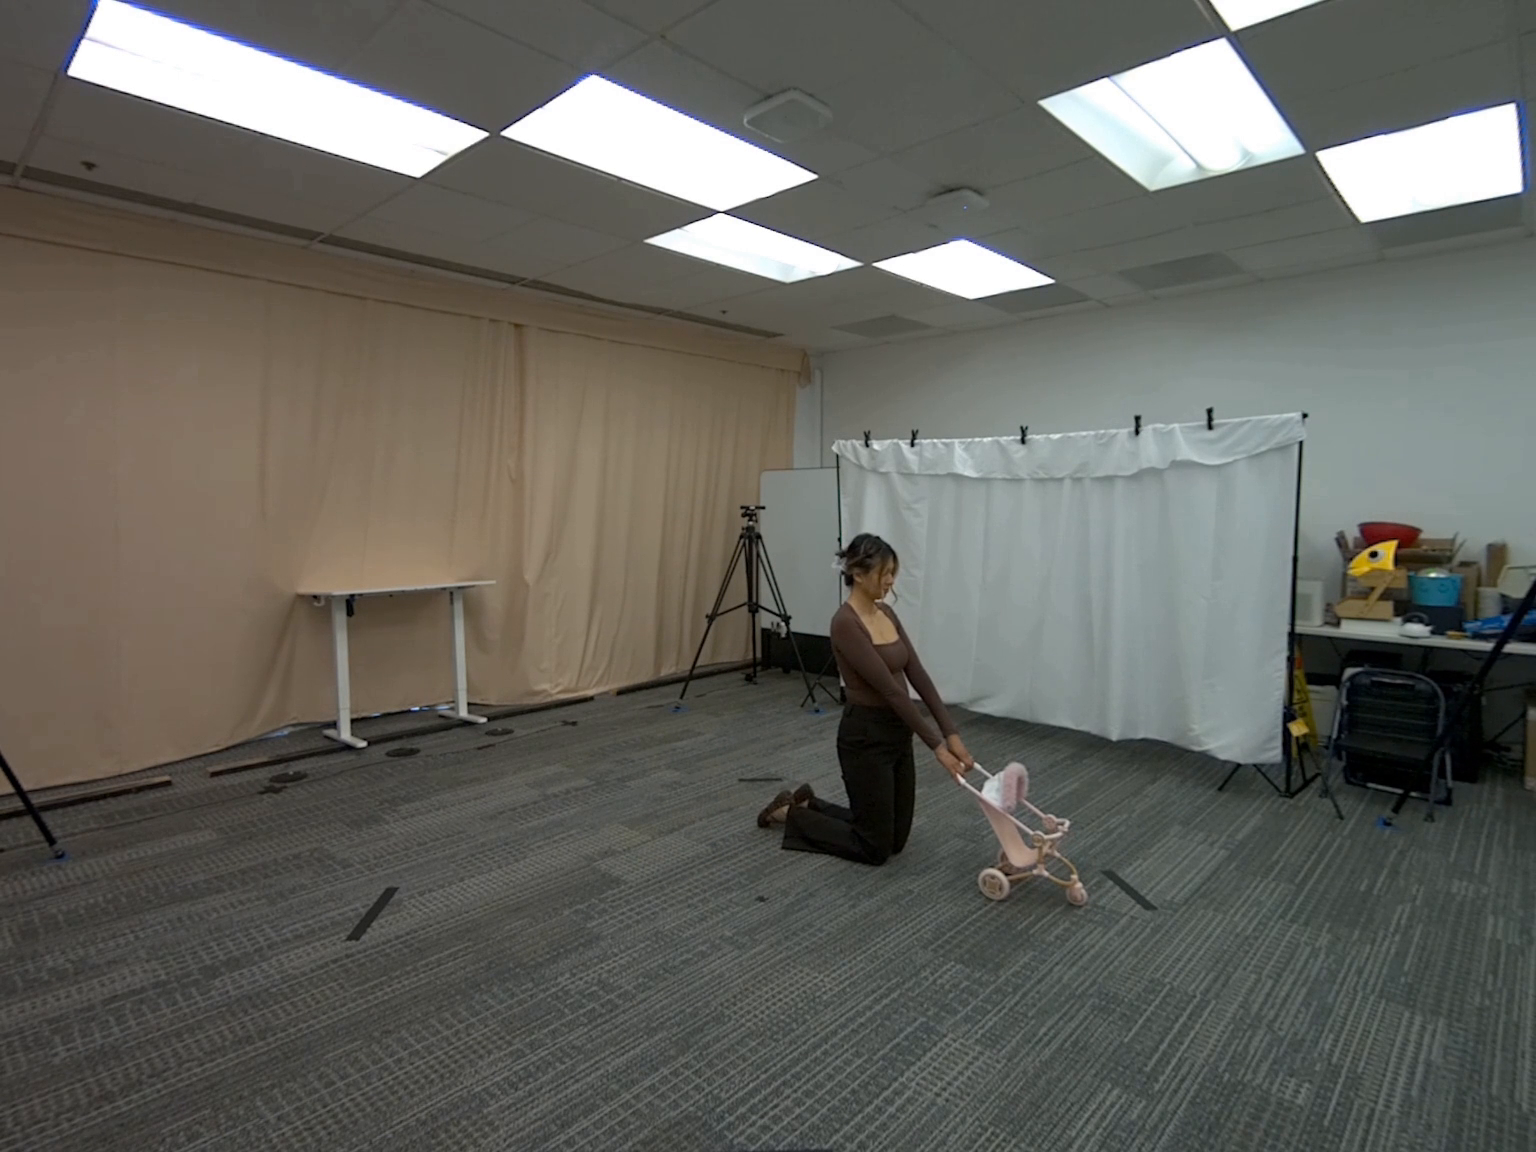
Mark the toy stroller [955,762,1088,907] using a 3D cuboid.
[{"bbox_3d":[0.916,0.914,3.027,0.349,0.538,0.273,-20,-9,36],"label":"toy stroller"}]
